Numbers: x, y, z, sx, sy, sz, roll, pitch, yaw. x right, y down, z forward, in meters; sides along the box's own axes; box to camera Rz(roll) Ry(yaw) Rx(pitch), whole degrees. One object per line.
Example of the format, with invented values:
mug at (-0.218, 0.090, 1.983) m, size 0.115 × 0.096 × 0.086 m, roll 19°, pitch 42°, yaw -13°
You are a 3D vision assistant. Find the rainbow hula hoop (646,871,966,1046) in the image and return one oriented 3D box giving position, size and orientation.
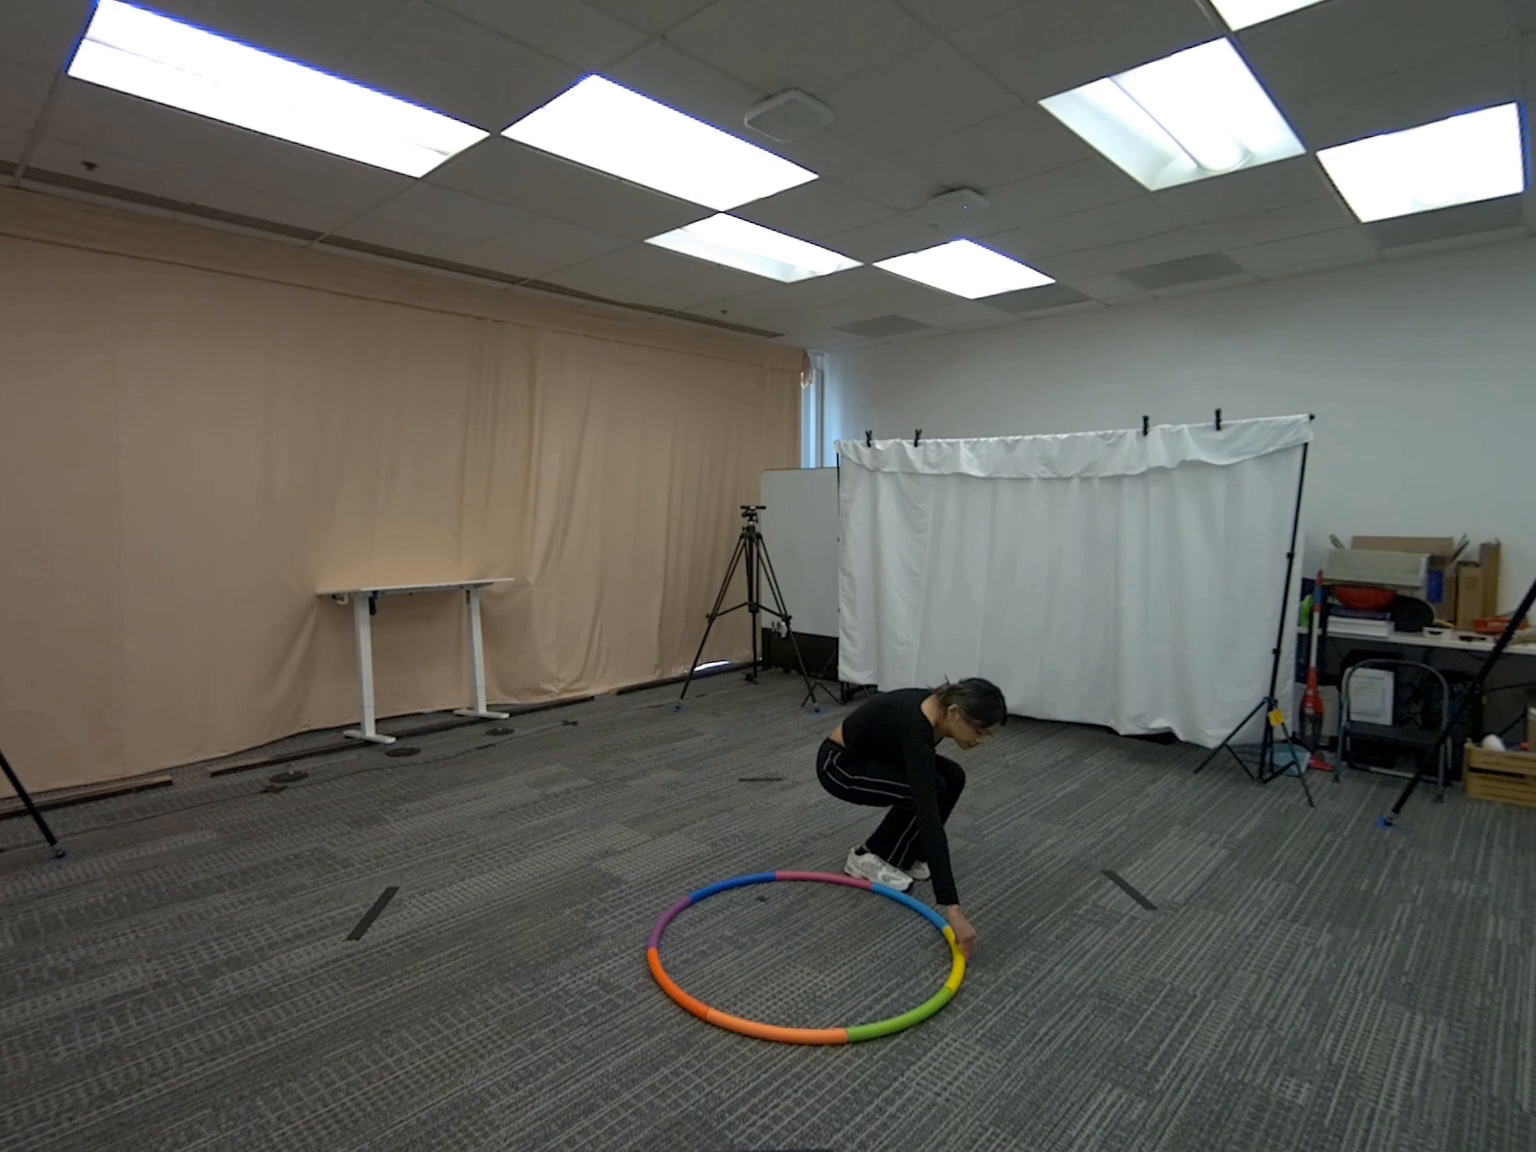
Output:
rainbow hula hoop at (0.111, 1.137, 2.657) m, size 0.978 × 0.035 × 0.982 m, roll -1°, pitch 5°, yaw -2°
